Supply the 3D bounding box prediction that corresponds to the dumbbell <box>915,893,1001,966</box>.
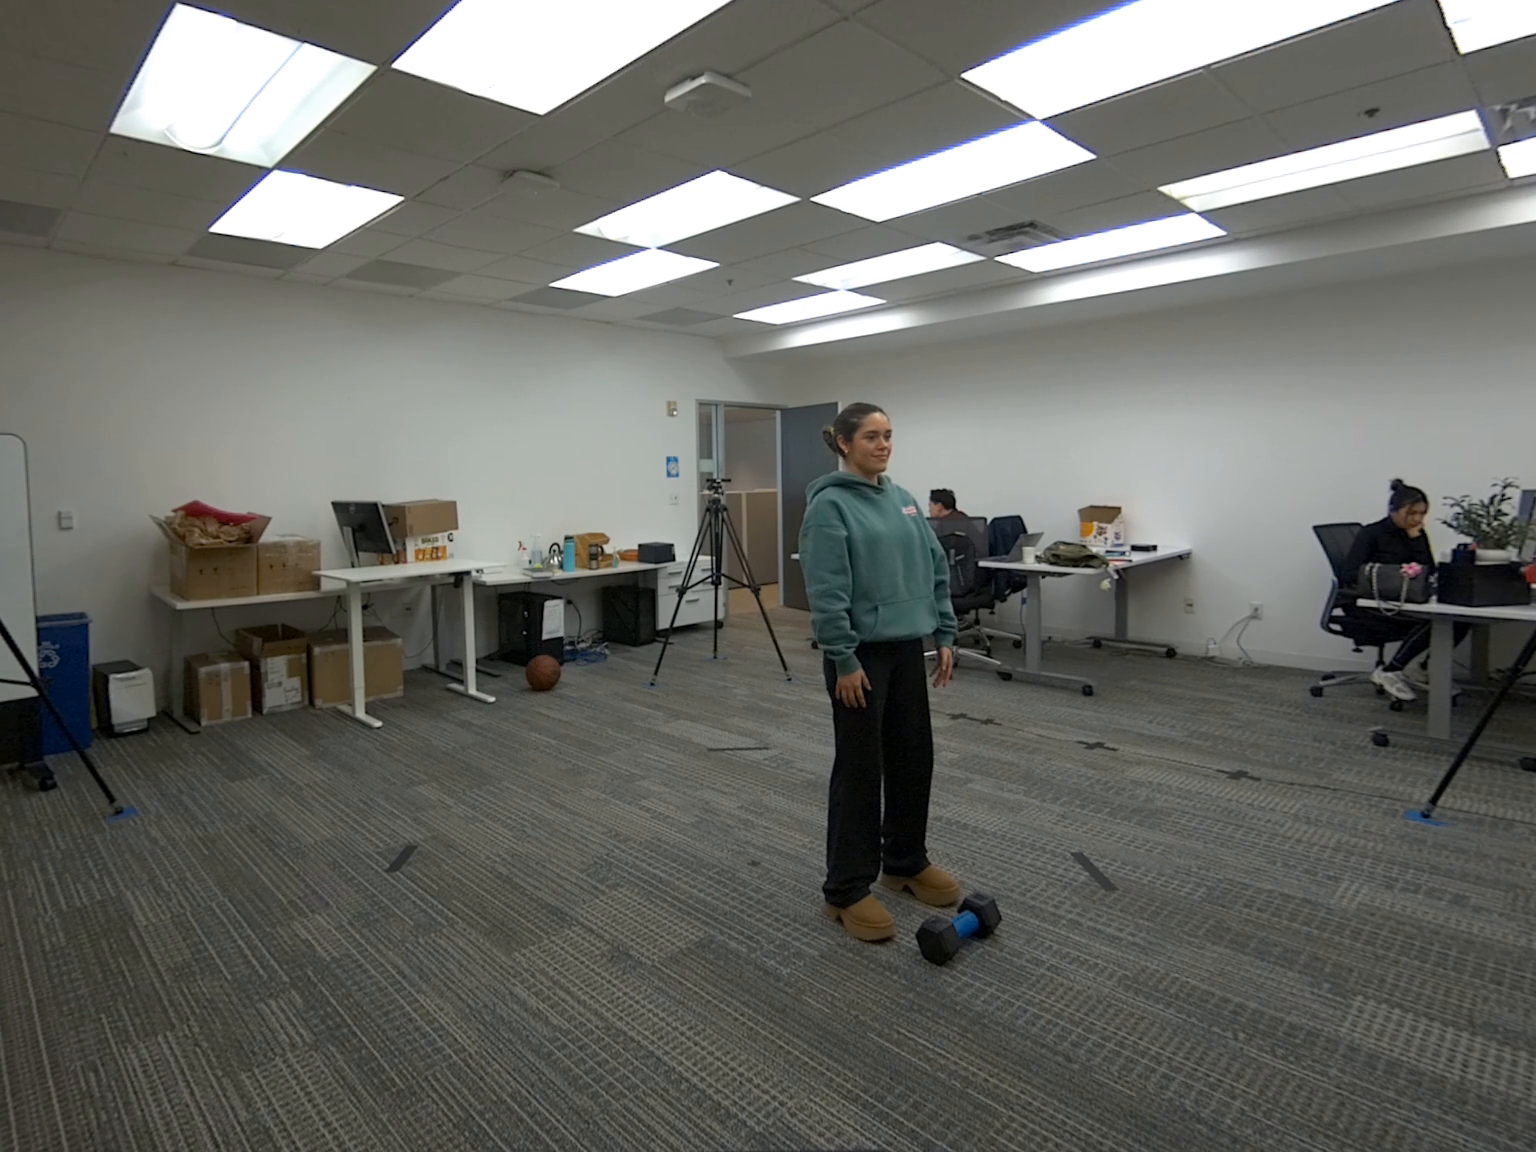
[{"bbox_3d":[0.571,1.043,2.542,0.286,0.121,0.113,-6,39,-41],"label":"dumbbell"}]
